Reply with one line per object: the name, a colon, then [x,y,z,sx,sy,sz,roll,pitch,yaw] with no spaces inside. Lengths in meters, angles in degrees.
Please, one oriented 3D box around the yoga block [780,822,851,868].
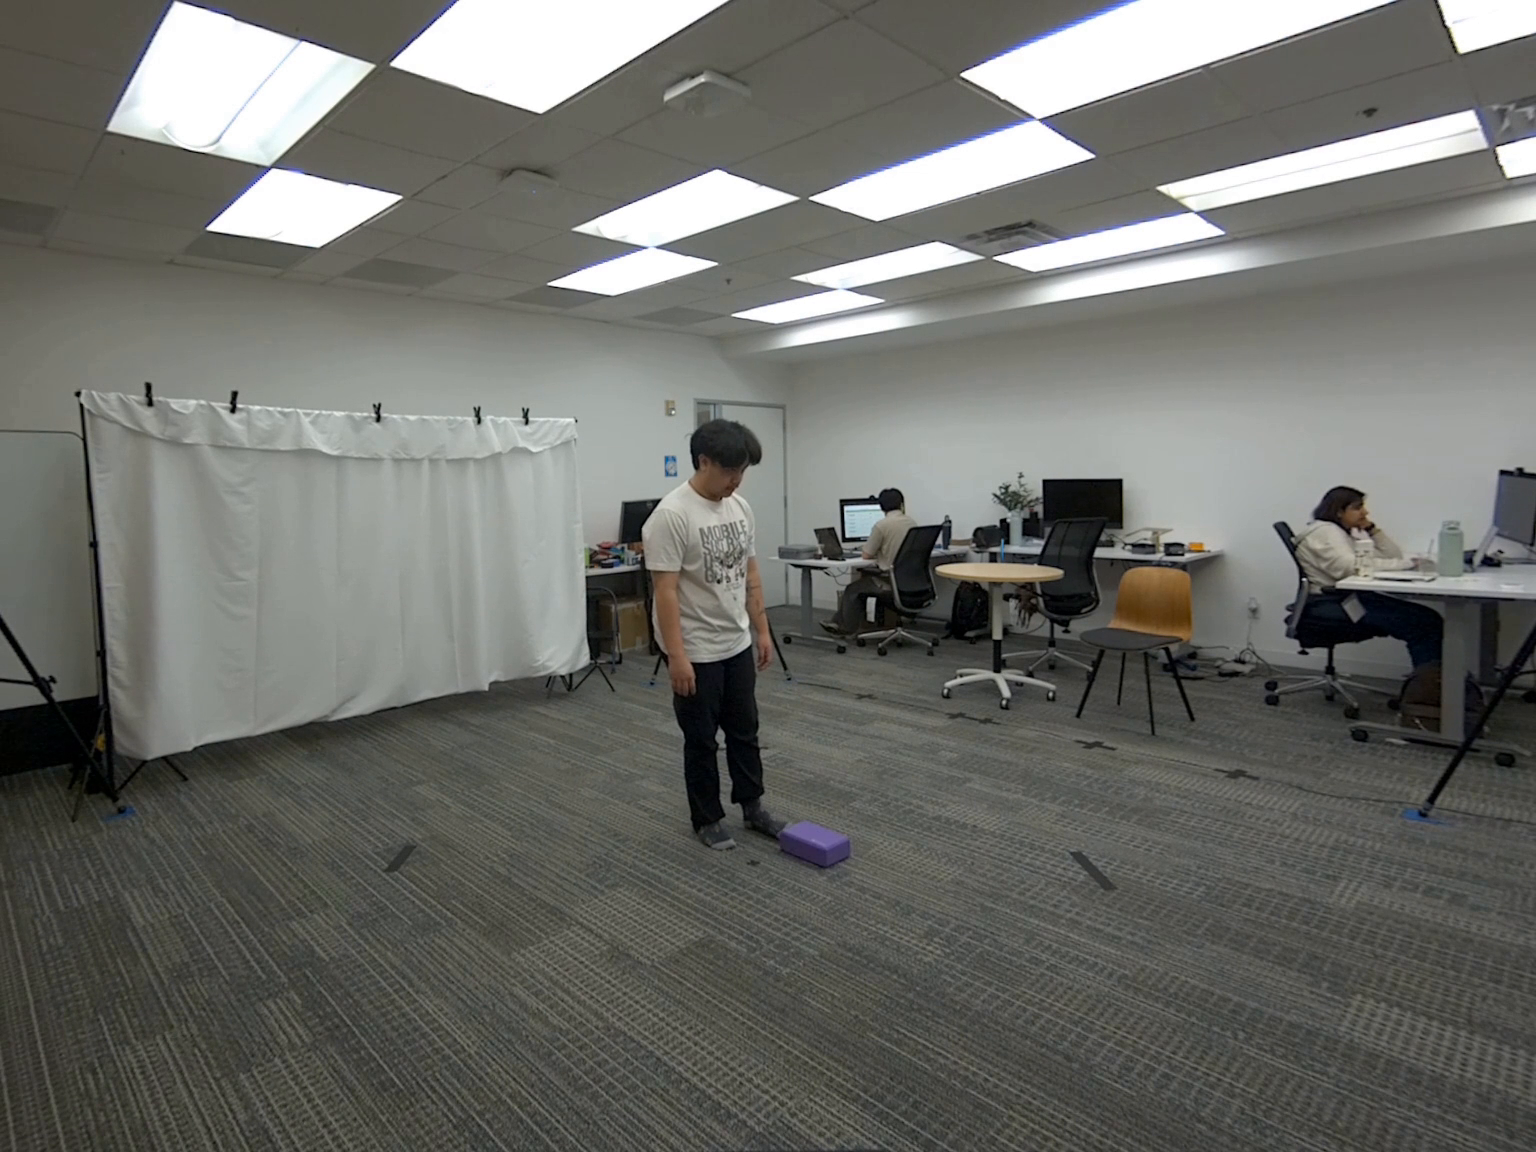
yoga block: [0.178,0.991,3.167,0.145,0.076,0.236,-5,7,-44]
